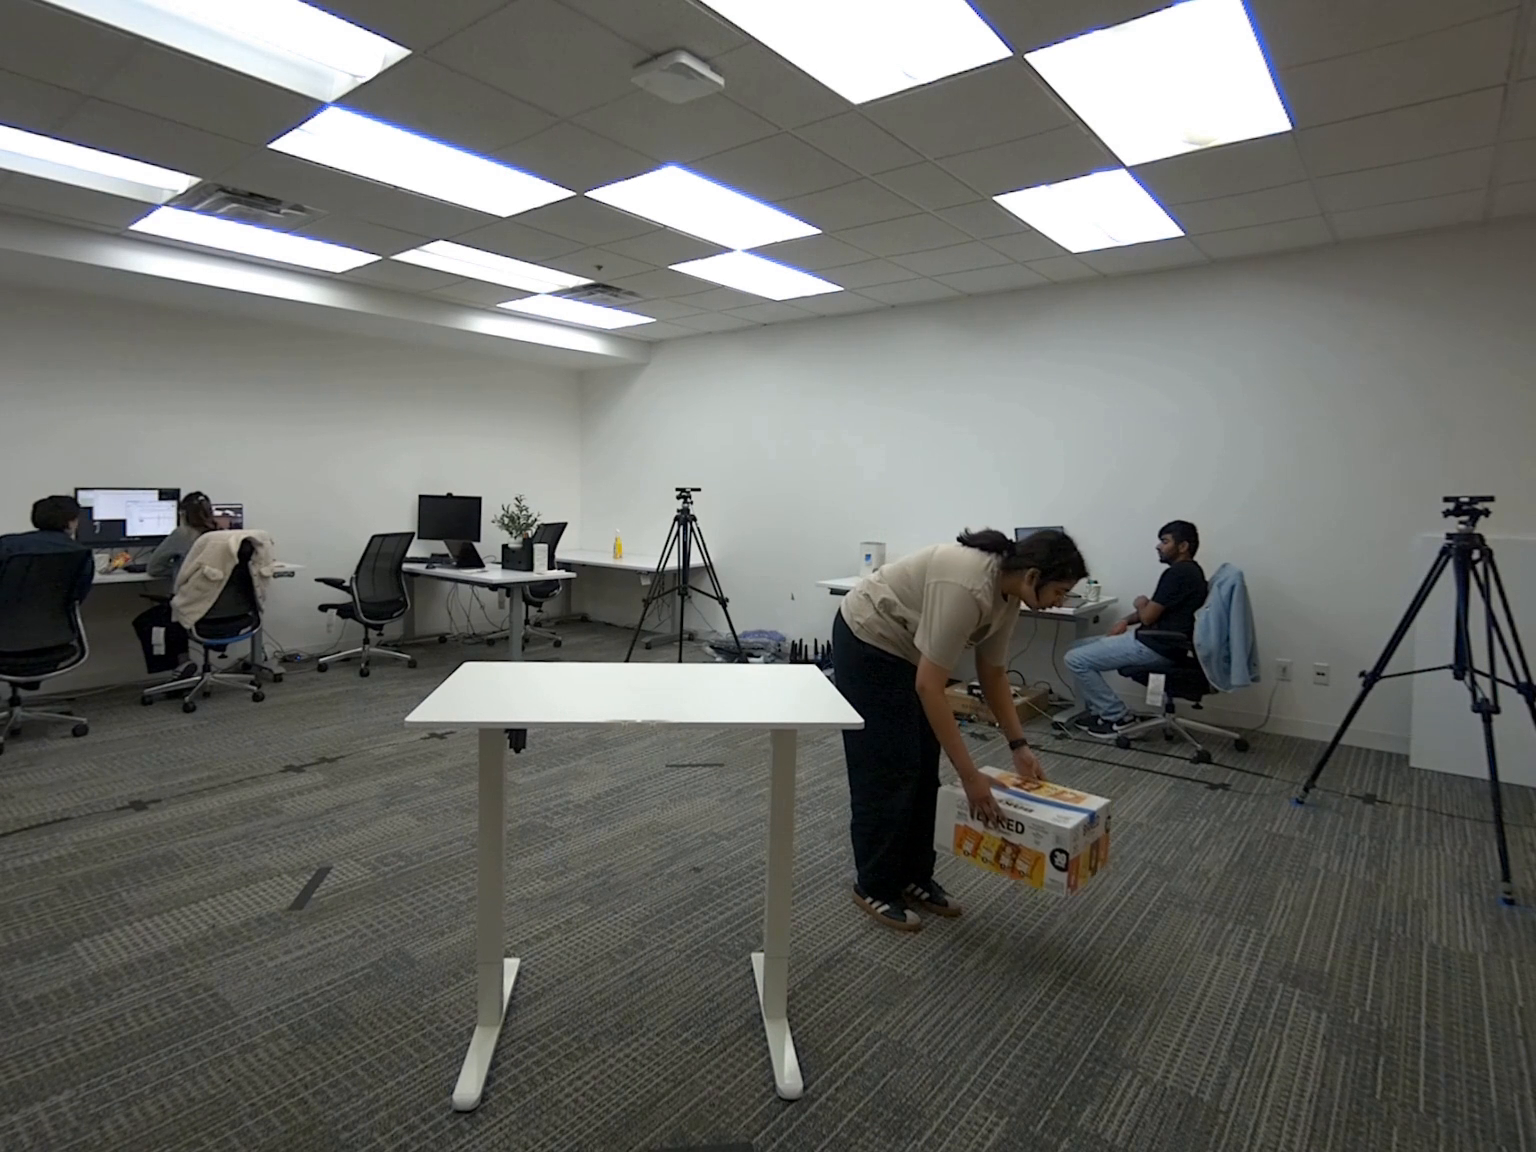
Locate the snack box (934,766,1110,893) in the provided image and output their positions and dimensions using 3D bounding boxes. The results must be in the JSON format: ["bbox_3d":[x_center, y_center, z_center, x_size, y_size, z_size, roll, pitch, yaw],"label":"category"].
[{"bbox_3d":[0.773,0.764,2.615,0.419,0.205,0.330,8,7,40],"label":"snack box"}]
